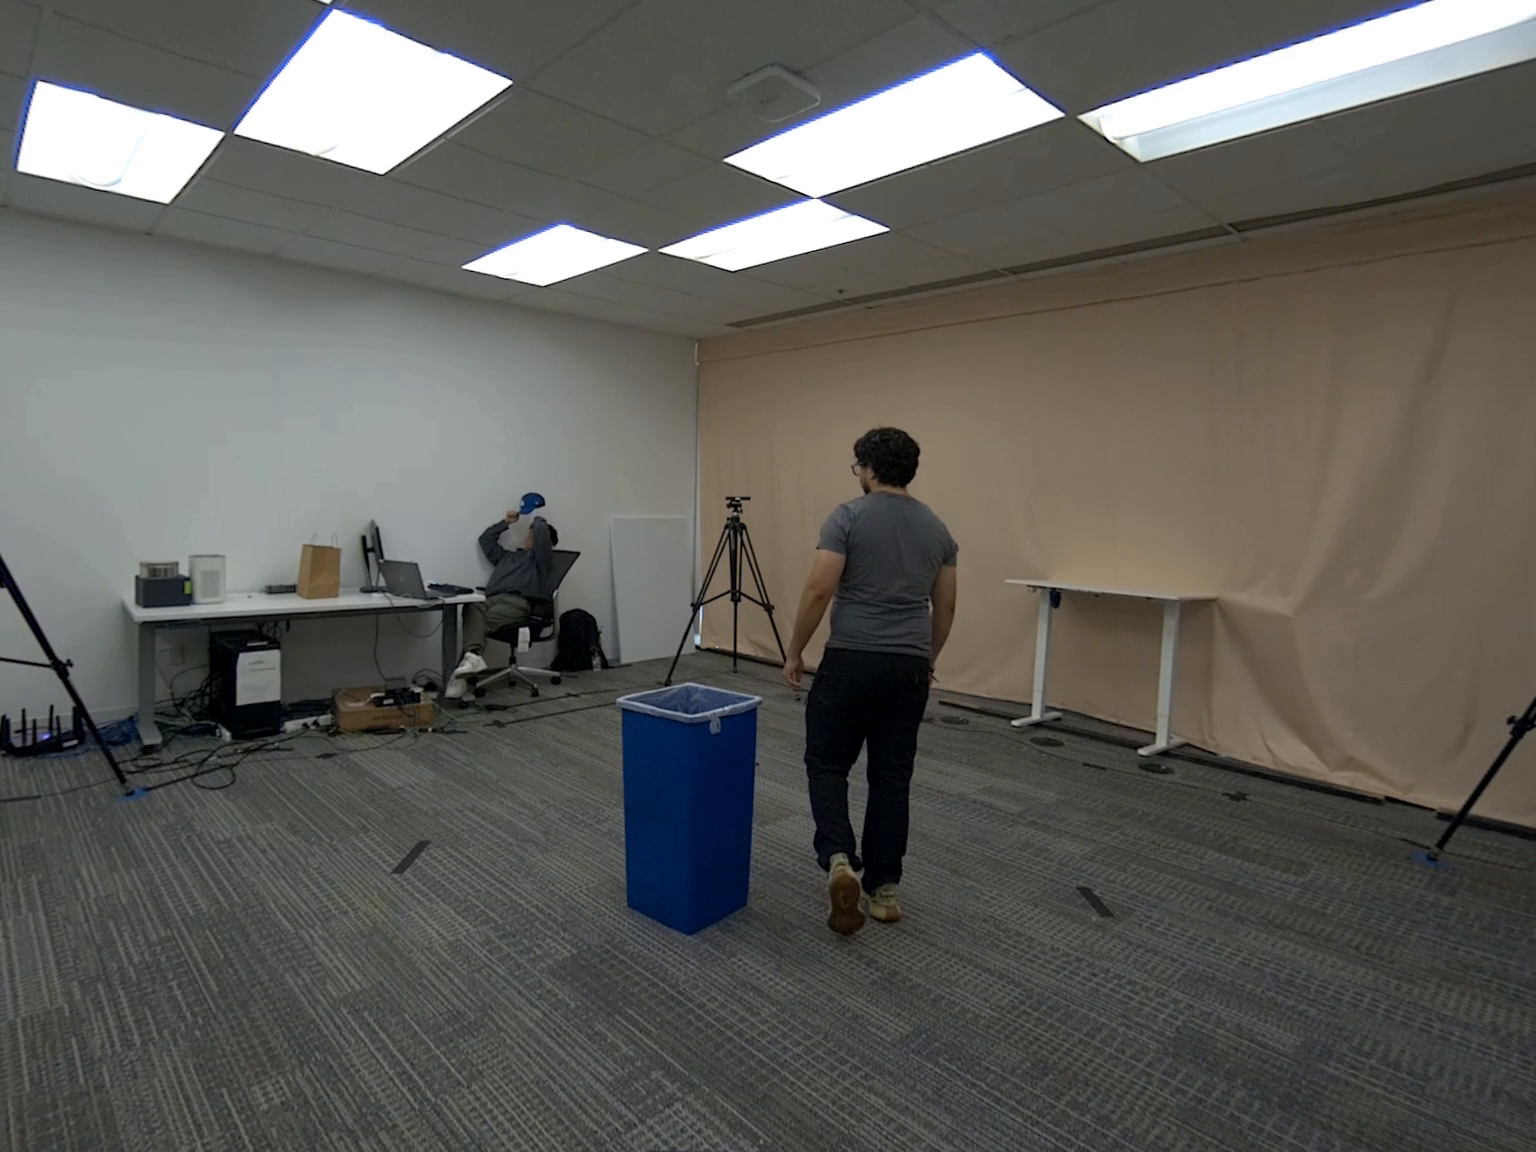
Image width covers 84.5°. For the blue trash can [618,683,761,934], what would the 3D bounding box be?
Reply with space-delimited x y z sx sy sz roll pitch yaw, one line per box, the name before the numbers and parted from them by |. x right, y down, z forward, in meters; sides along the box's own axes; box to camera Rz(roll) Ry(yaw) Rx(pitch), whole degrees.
blue trash can | -0.282 0.767 2.862 0.383 0.712 0.369 4 4 39
